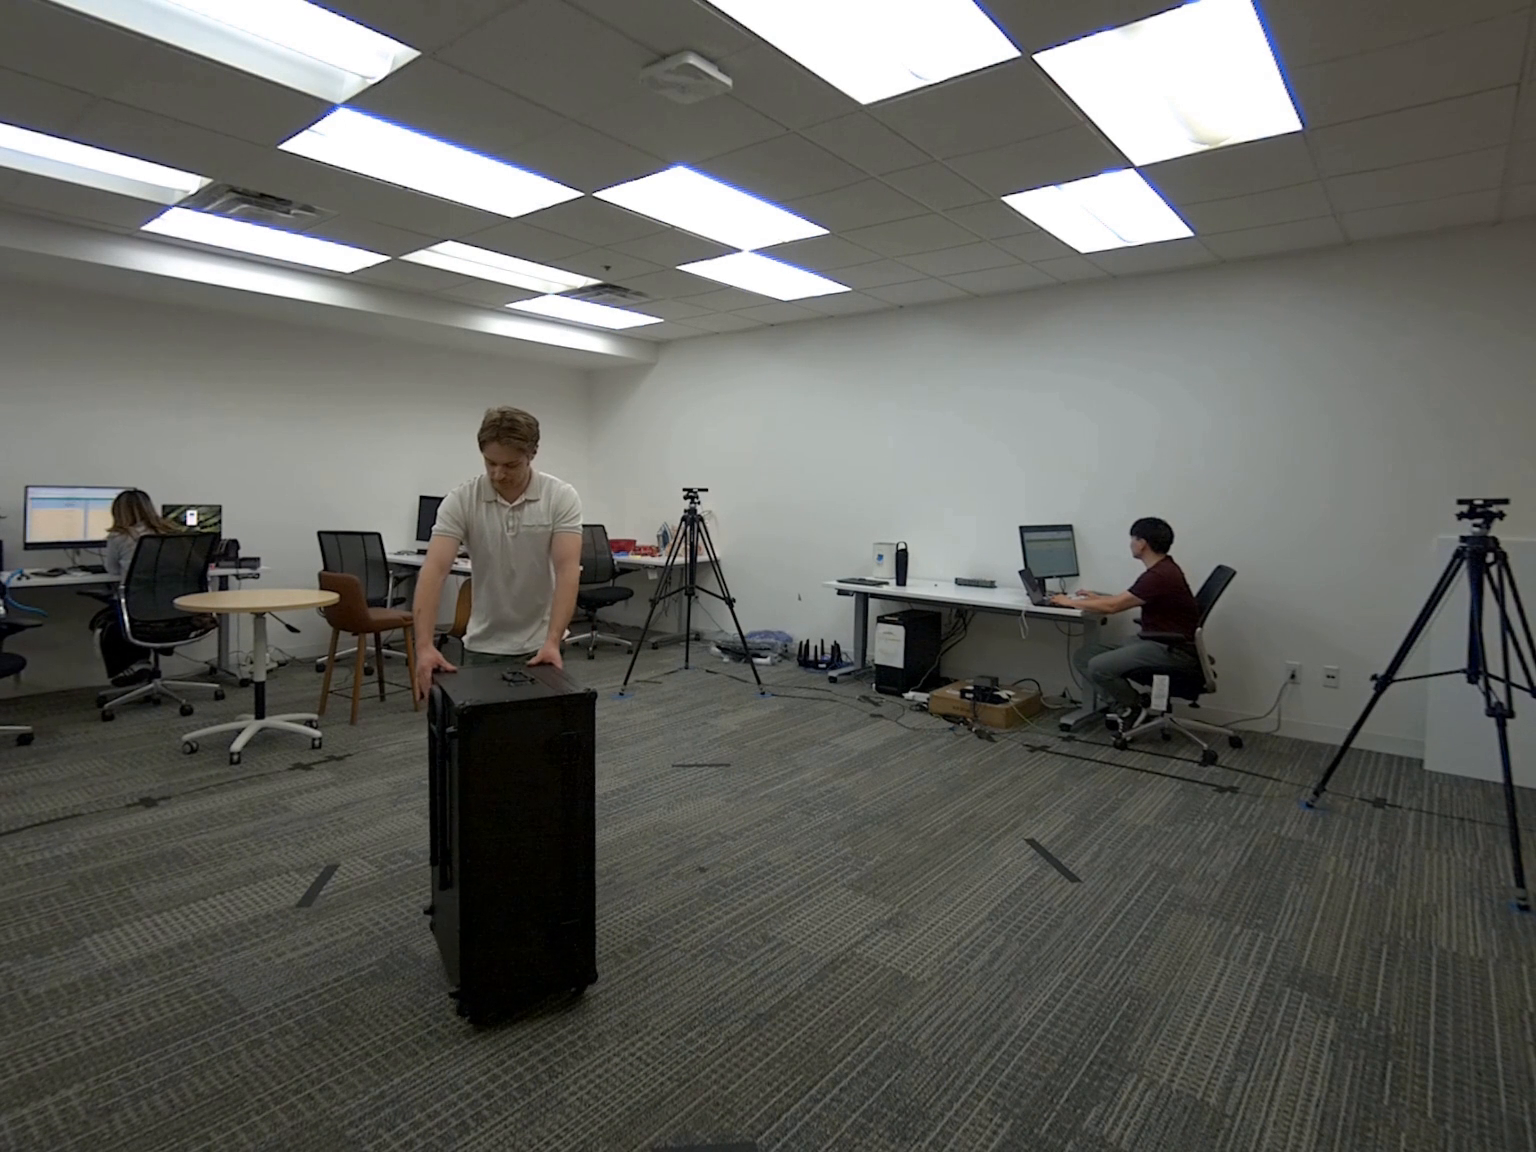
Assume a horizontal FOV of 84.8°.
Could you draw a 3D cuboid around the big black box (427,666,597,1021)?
[{"bbox_3d":[-0.726,0.713,2.366,0.375,0.866,0.539,-1,4,-30],"label":"big black box"}]
